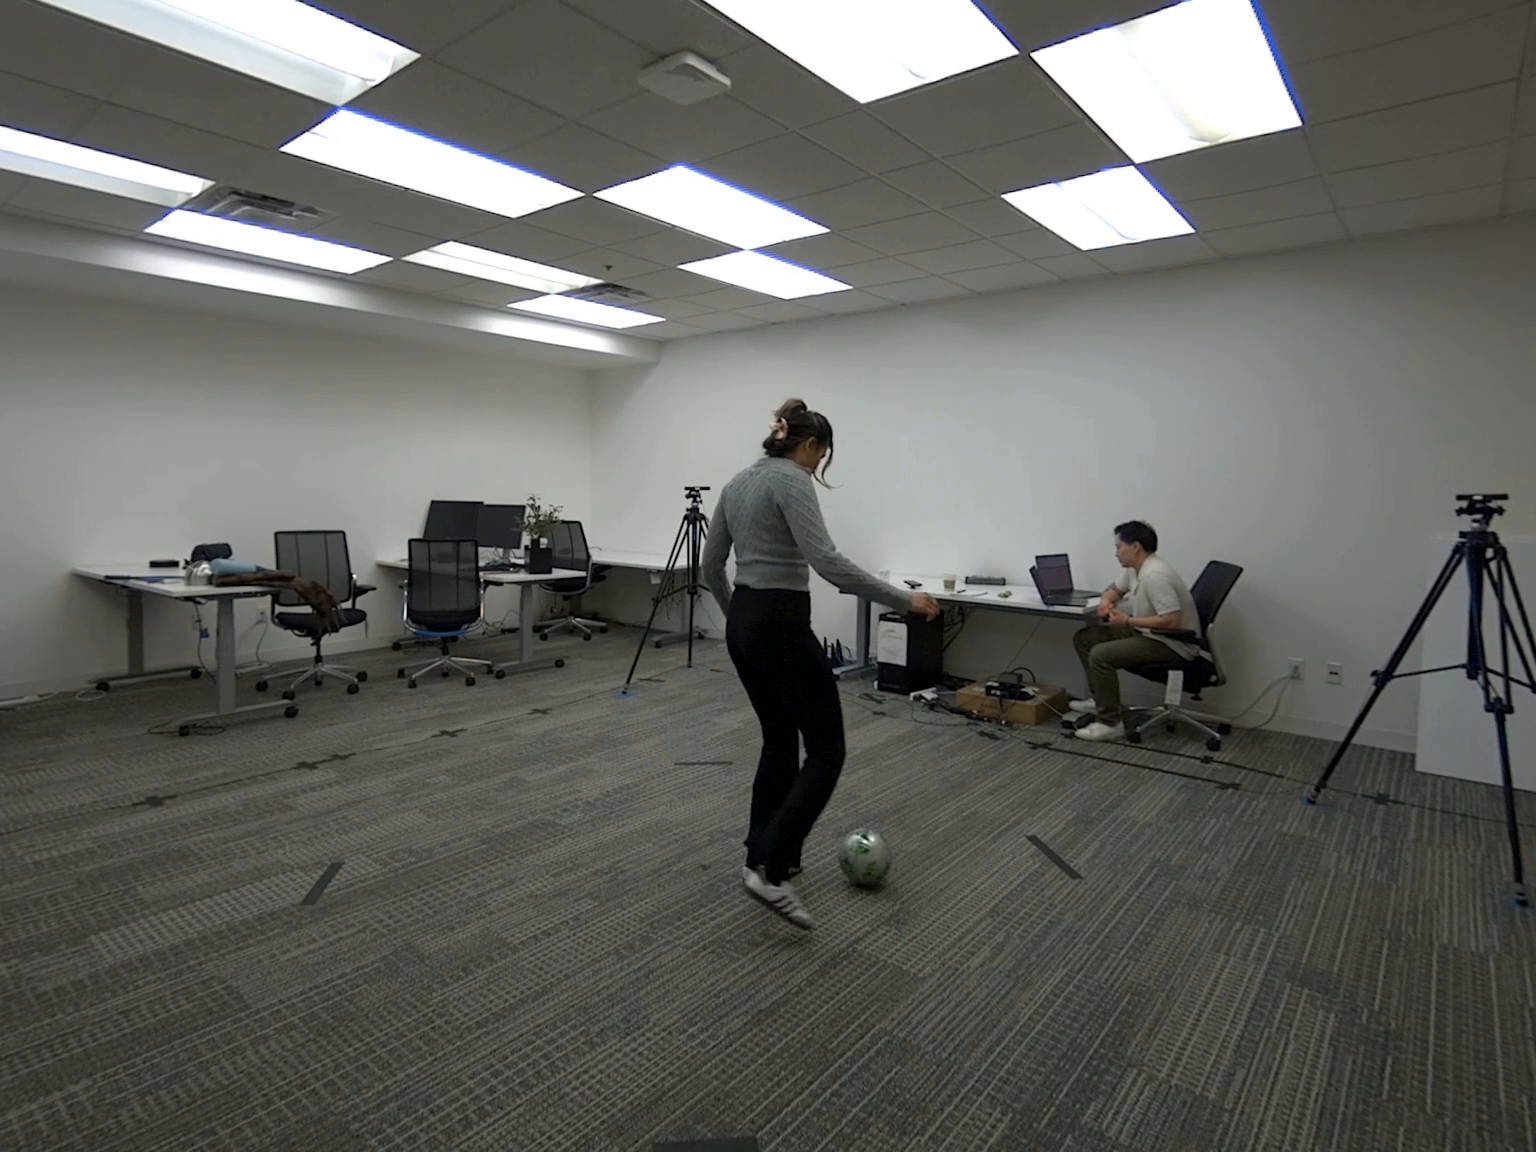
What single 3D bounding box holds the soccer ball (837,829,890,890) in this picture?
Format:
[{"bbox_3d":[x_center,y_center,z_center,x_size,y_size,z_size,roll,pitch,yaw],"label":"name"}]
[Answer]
[{"bbox_3d":[0.334,0.994,3.009,0.187,0.187,0.188,1,4,-2],"label":"soccer ball"}]
